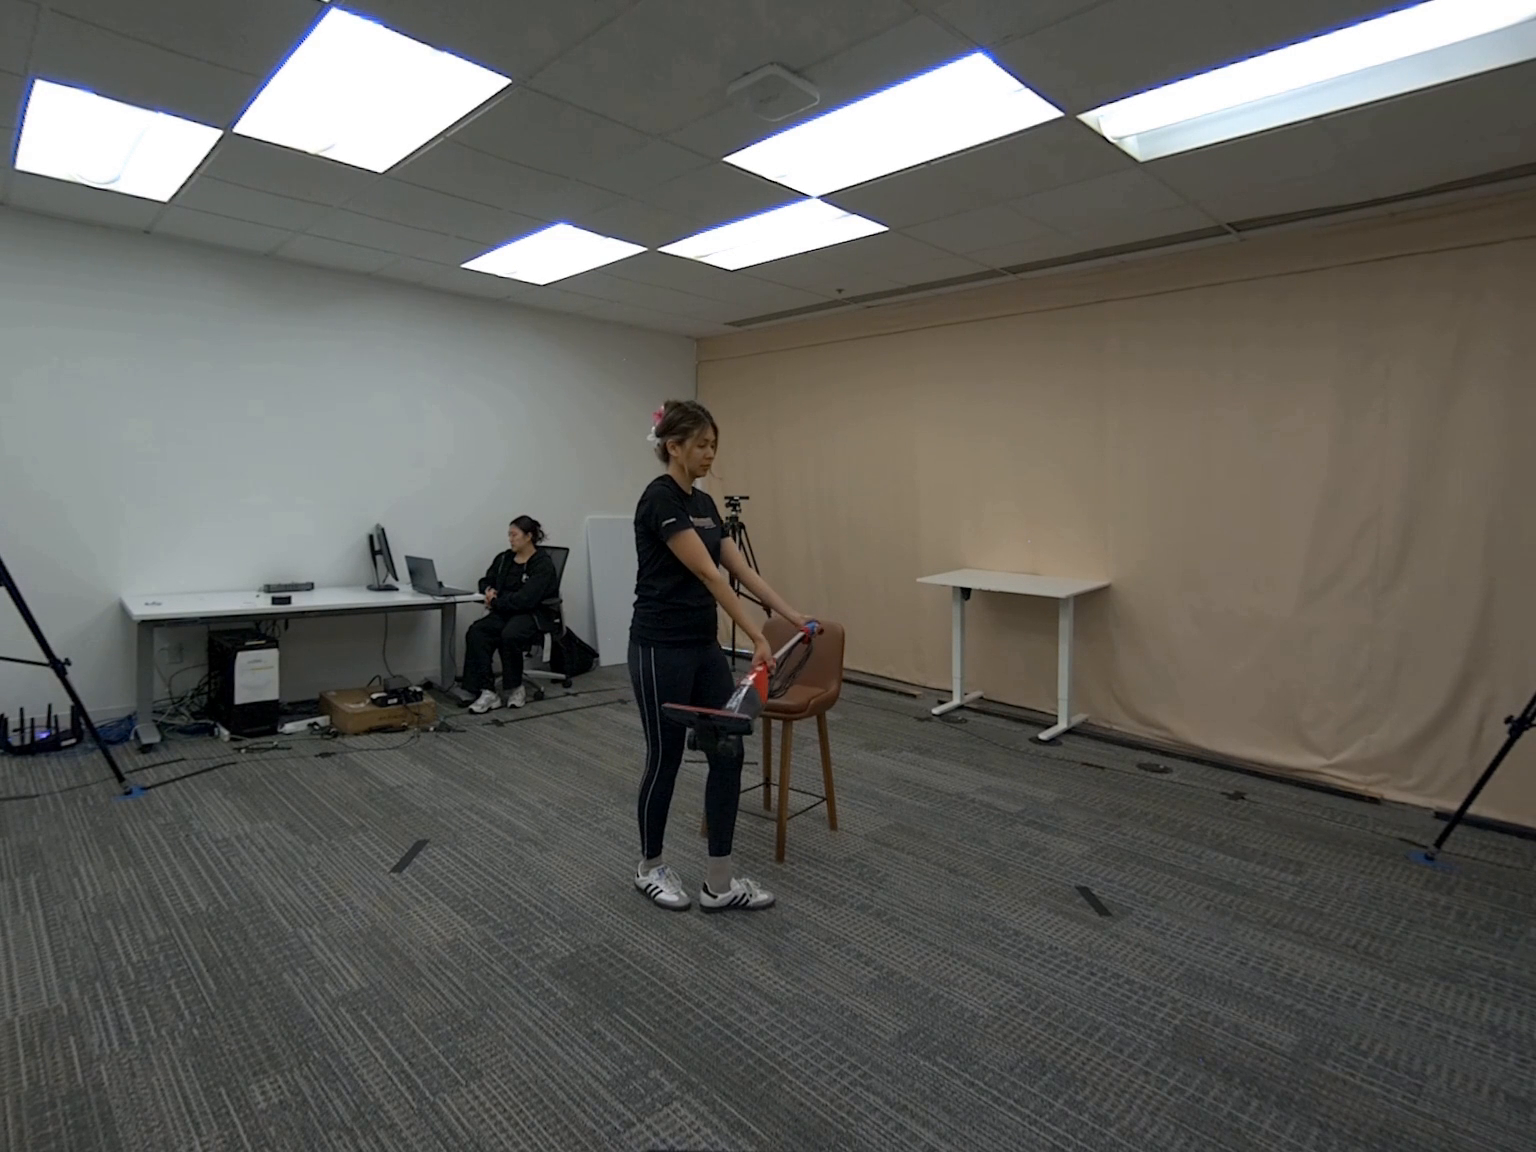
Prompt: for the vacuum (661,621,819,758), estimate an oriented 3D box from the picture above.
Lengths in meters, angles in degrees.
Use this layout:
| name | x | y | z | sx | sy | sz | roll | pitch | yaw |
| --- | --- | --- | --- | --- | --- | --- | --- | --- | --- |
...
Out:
| name | x | y | z | sx | sy | sz | roll | pitch | yaw |
| --- | --- | --- | --- | --- | --- | --- | --- | --- | --- |
| vacuum | 0.025 | 0.323 | 2.664 | 0.257 | 0.143 | 1.039 | 9 | 14 | 19 |
